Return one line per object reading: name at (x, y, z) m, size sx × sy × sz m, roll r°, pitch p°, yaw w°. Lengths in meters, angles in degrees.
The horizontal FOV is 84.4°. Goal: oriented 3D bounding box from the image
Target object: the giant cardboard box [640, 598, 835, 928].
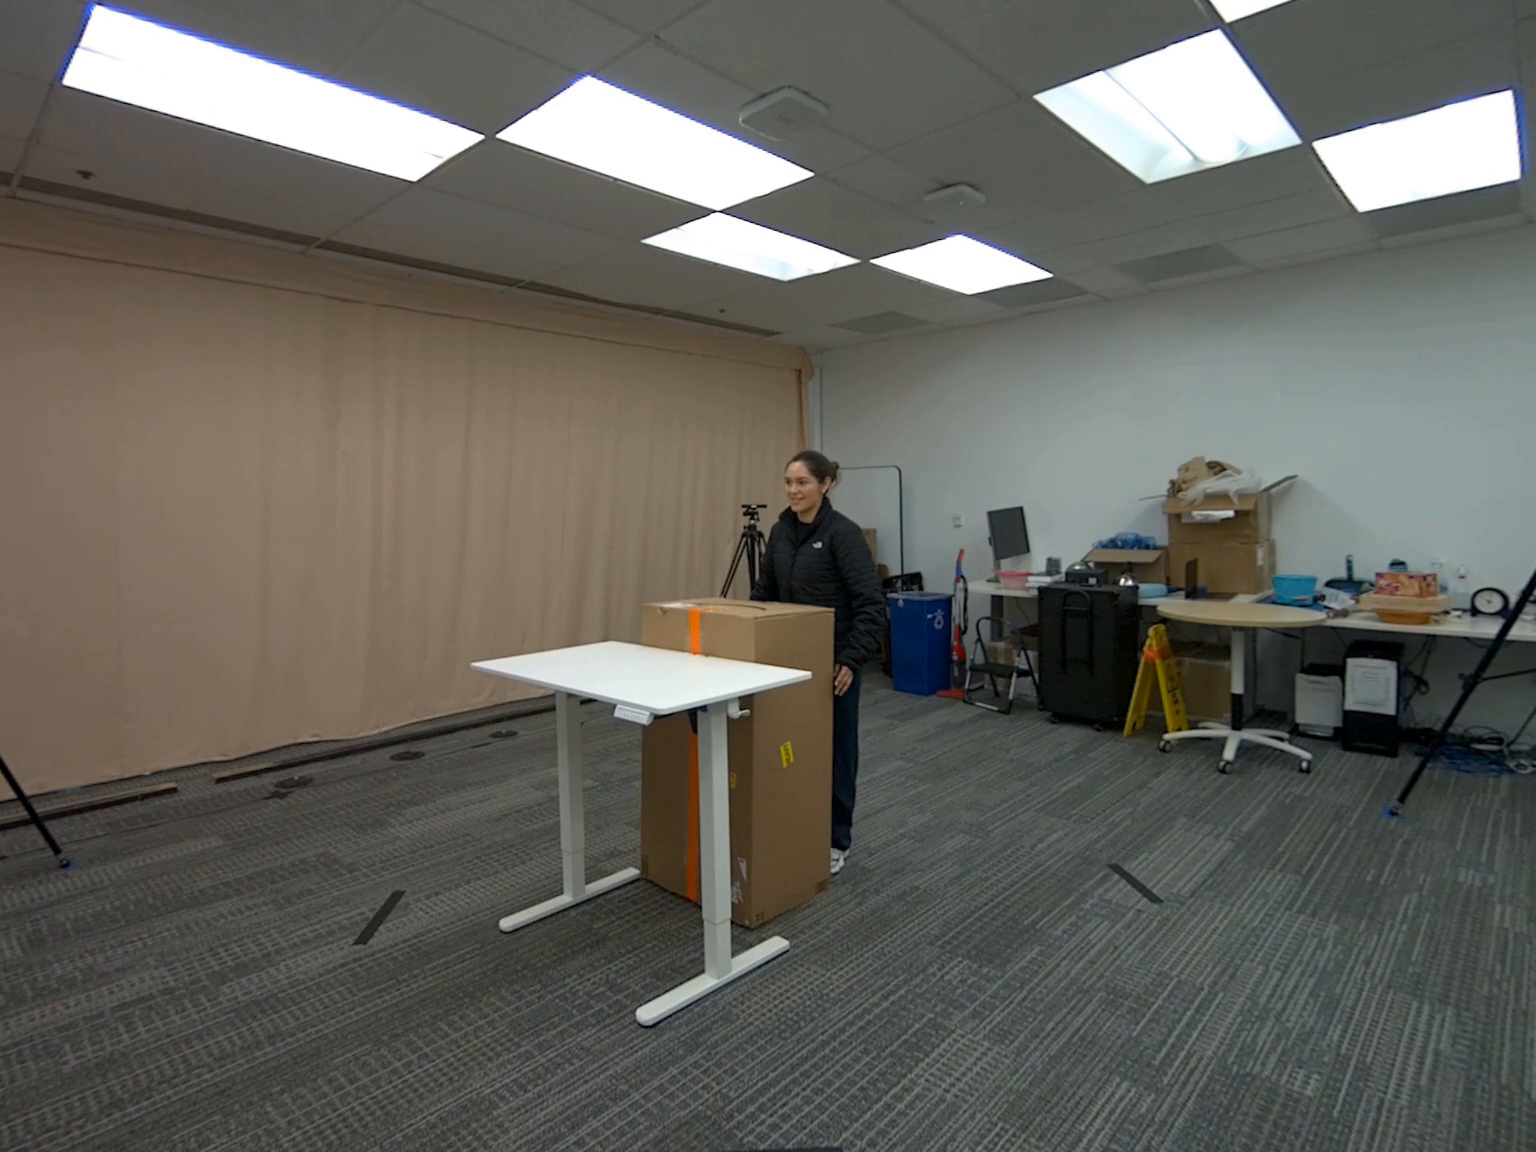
giant cardboard box at (-0.112, 0.618, 3.075) m, size 0.433 × 1.025 × 0.603 m, roll -2°, pitch 3°, yaw -45°
